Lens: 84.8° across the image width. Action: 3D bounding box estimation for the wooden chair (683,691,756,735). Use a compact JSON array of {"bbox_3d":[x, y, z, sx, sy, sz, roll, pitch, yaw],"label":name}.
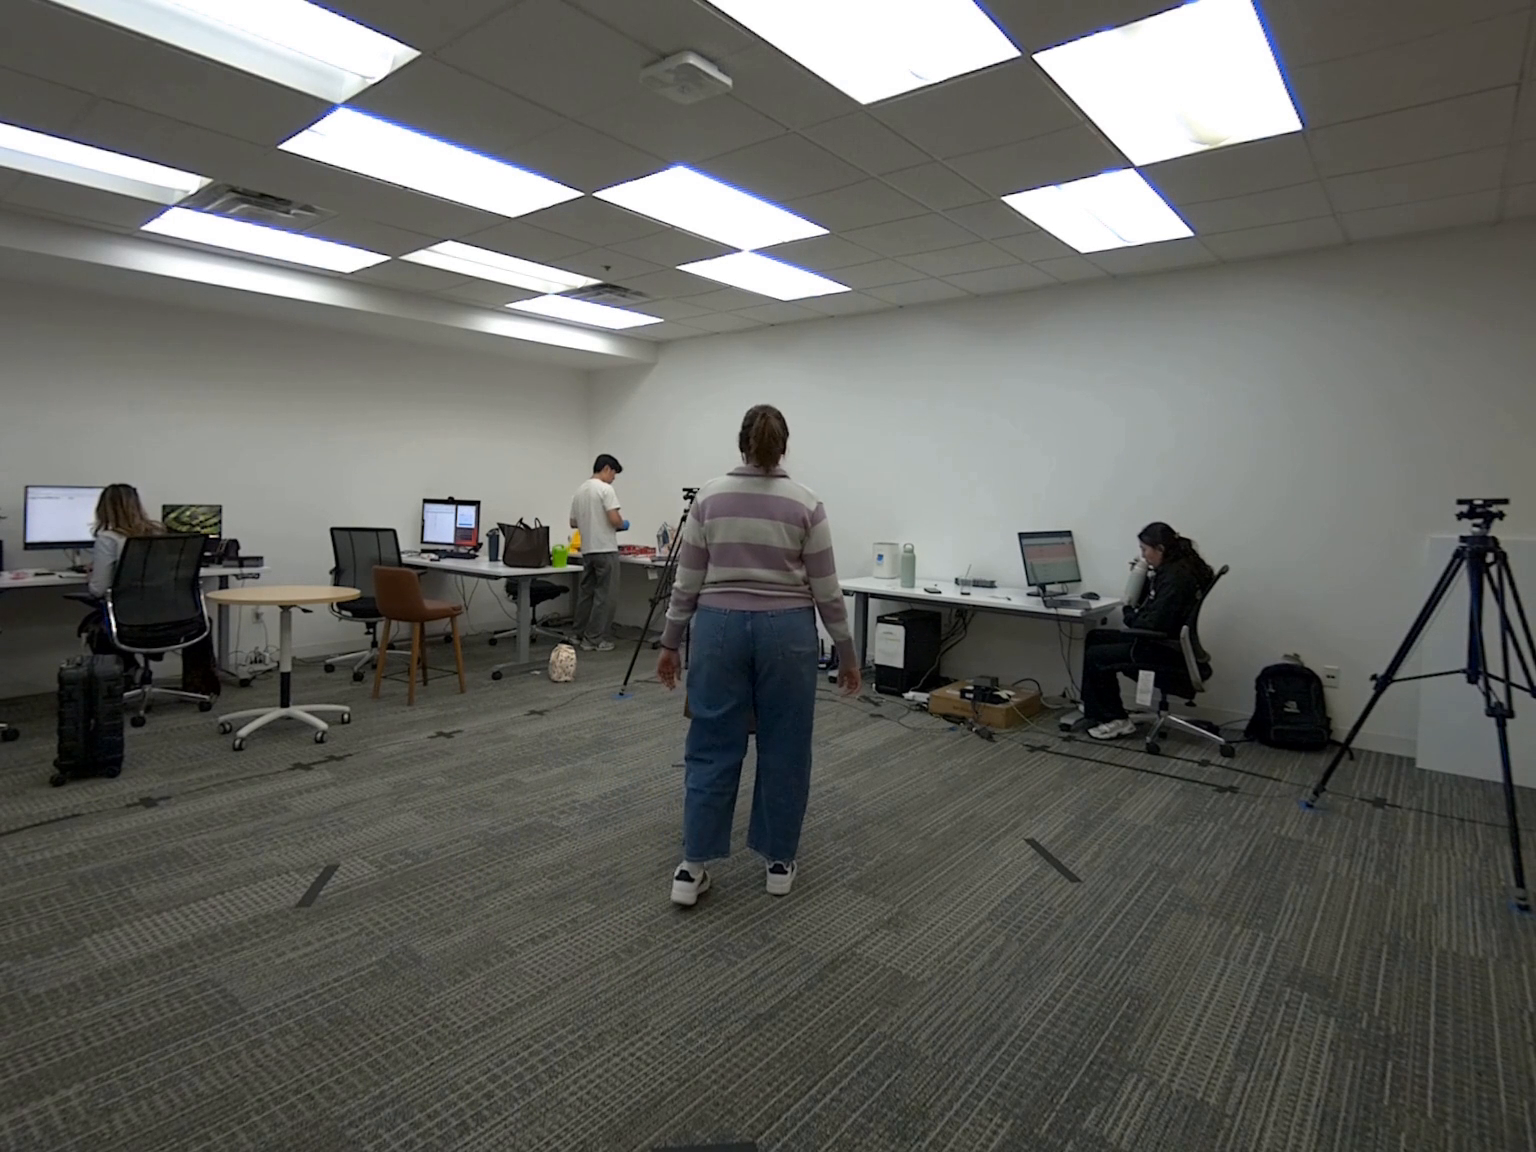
[{"bbox_3d":[-0.137,0.597,3.523,0.477,0.871,0.528,0,8,-3],"label":"wooden chair"}]
